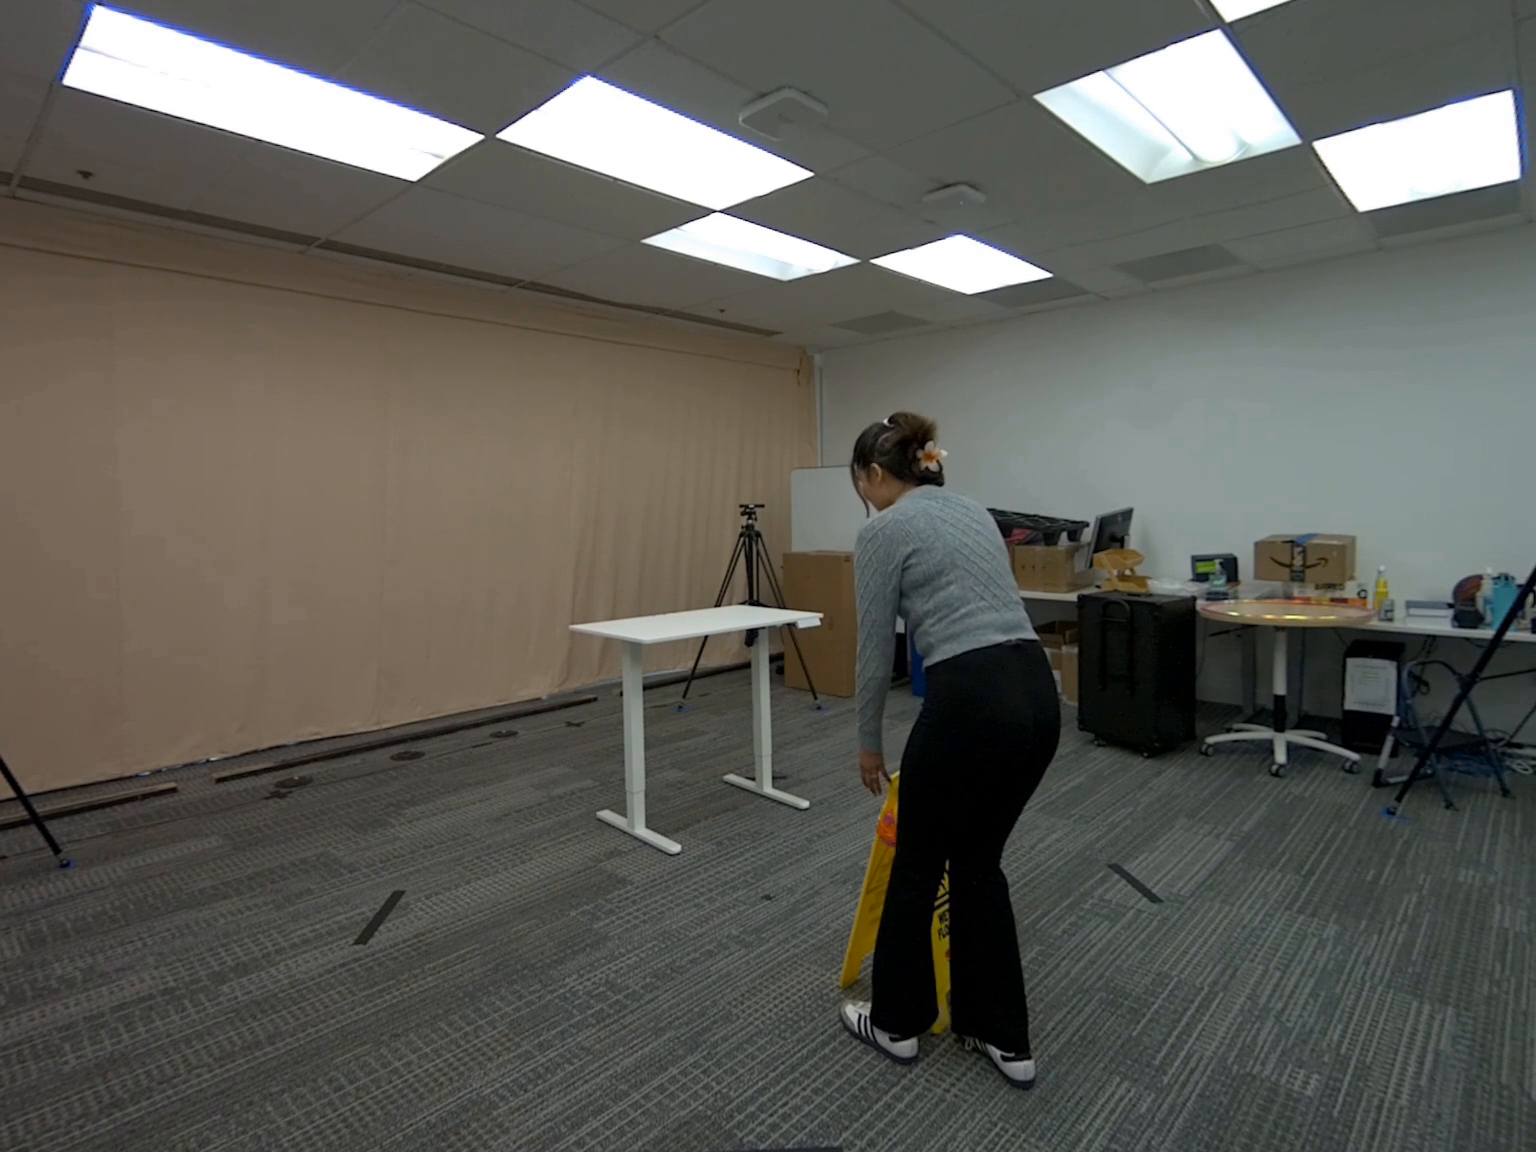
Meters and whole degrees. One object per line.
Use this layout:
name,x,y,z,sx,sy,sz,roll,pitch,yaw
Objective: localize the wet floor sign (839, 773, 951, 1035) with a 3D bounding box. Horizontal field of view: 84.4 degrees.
wet floor sign,0.412,0.864,2.384,0.299,0.645,0.273,3,5,44
